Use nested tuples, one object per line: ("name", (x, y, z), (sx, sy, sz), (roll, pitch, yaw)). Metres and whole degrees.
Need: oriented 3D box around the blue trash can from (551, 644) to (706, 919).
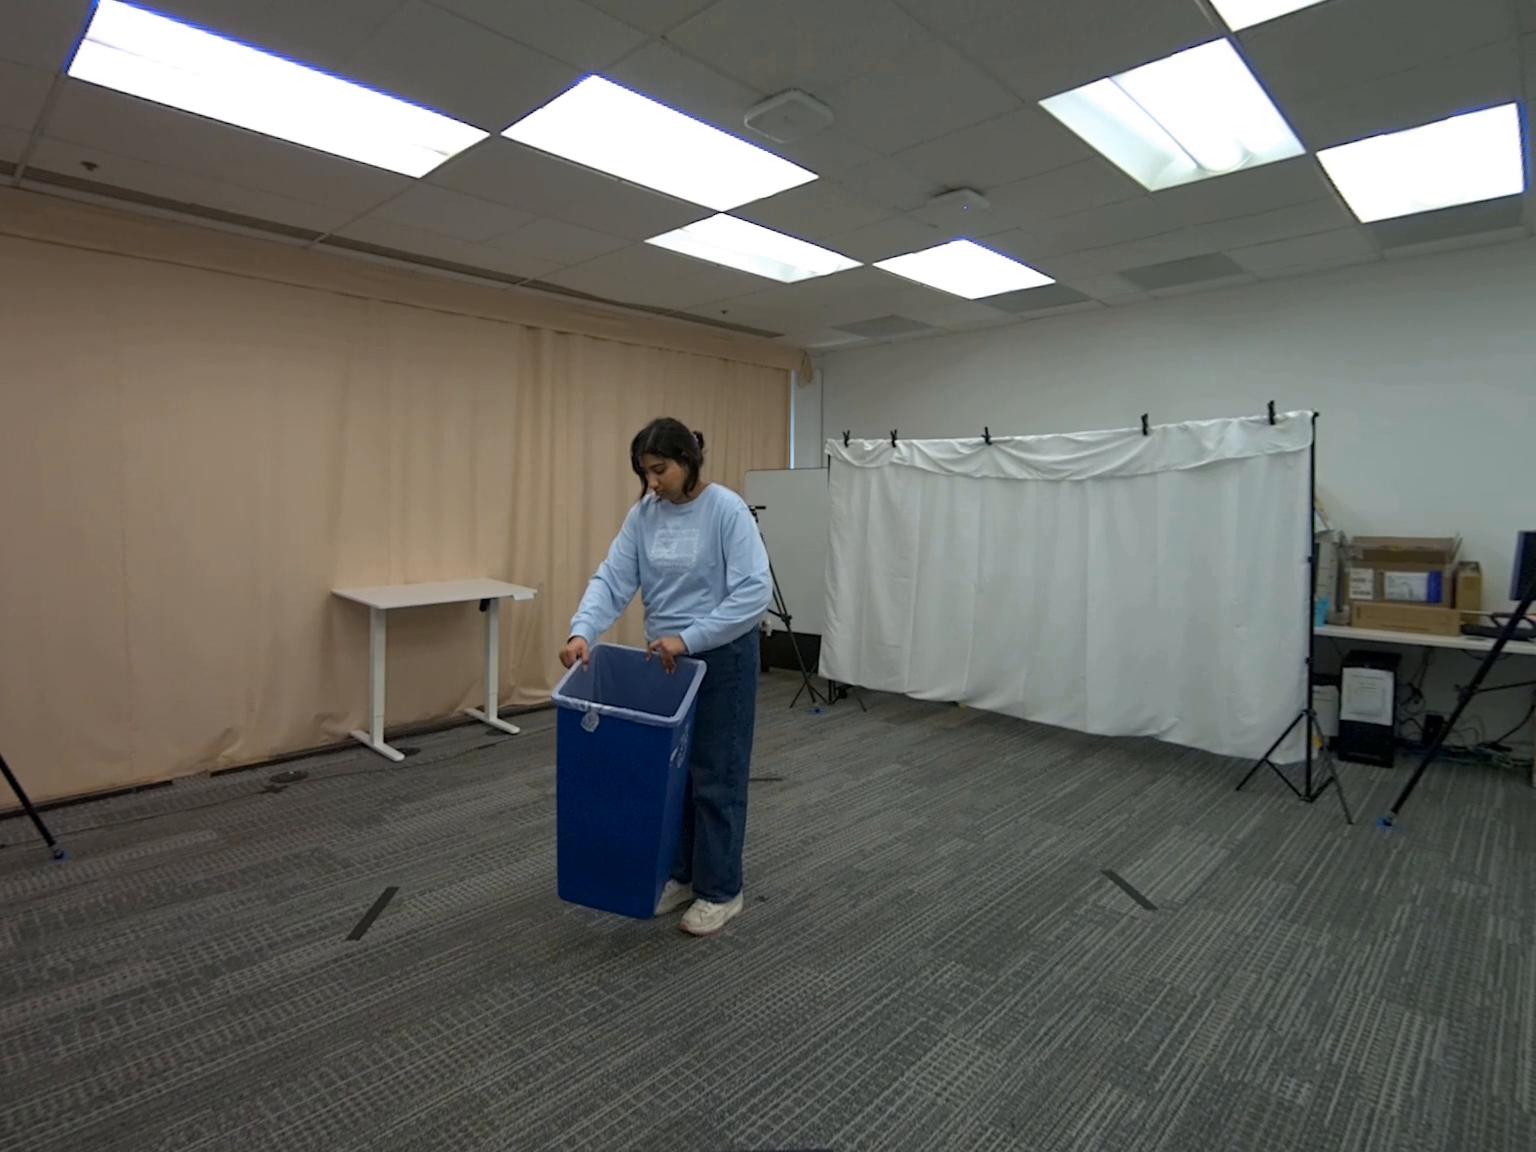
("blue trash can", (-0.432, 0.620, 2.529), (0.382, 0.707, 0.374), (10, 20, 7))
